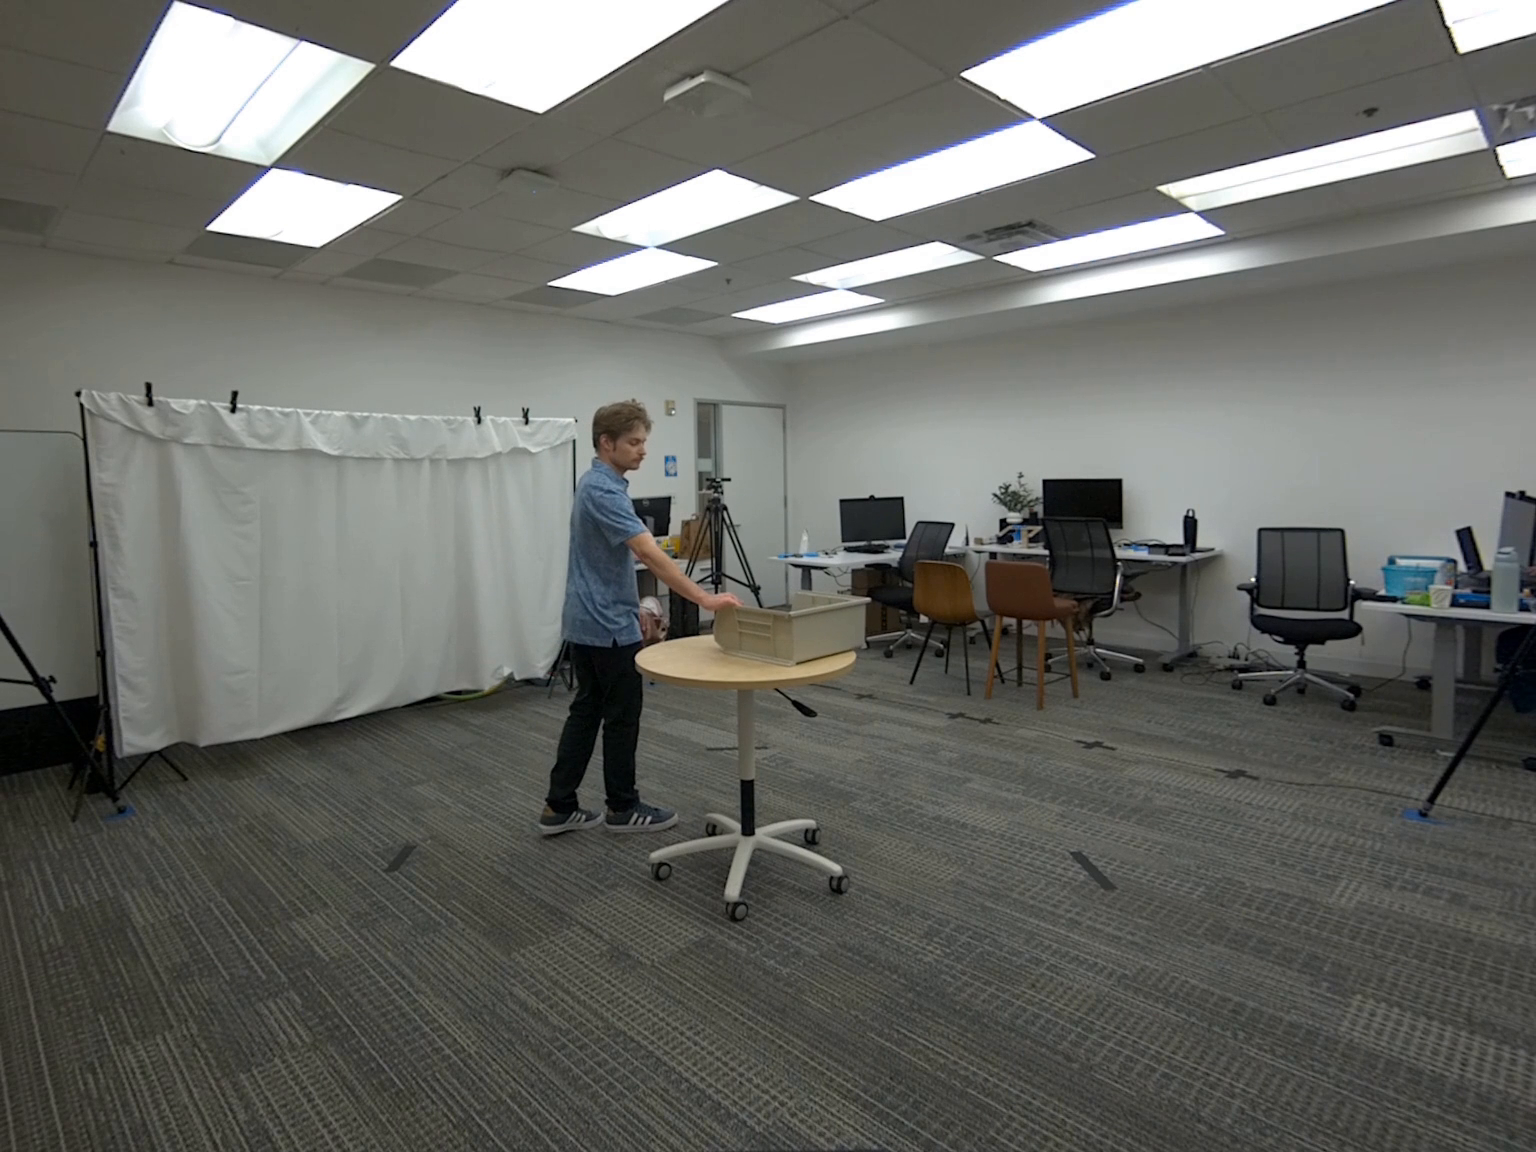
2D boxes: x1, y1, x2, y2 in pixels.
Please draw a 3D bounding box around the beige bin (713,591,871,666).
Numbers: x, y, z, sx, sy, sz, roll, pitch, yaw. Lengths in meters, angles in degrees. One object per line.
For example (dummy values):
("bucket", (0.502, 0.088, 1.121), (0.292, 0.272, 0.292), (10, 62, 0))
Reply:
("beige bin", (0.085, 0.175, 3.028), (0.411, 0.188, 0.389), (-7, 10, -45))
